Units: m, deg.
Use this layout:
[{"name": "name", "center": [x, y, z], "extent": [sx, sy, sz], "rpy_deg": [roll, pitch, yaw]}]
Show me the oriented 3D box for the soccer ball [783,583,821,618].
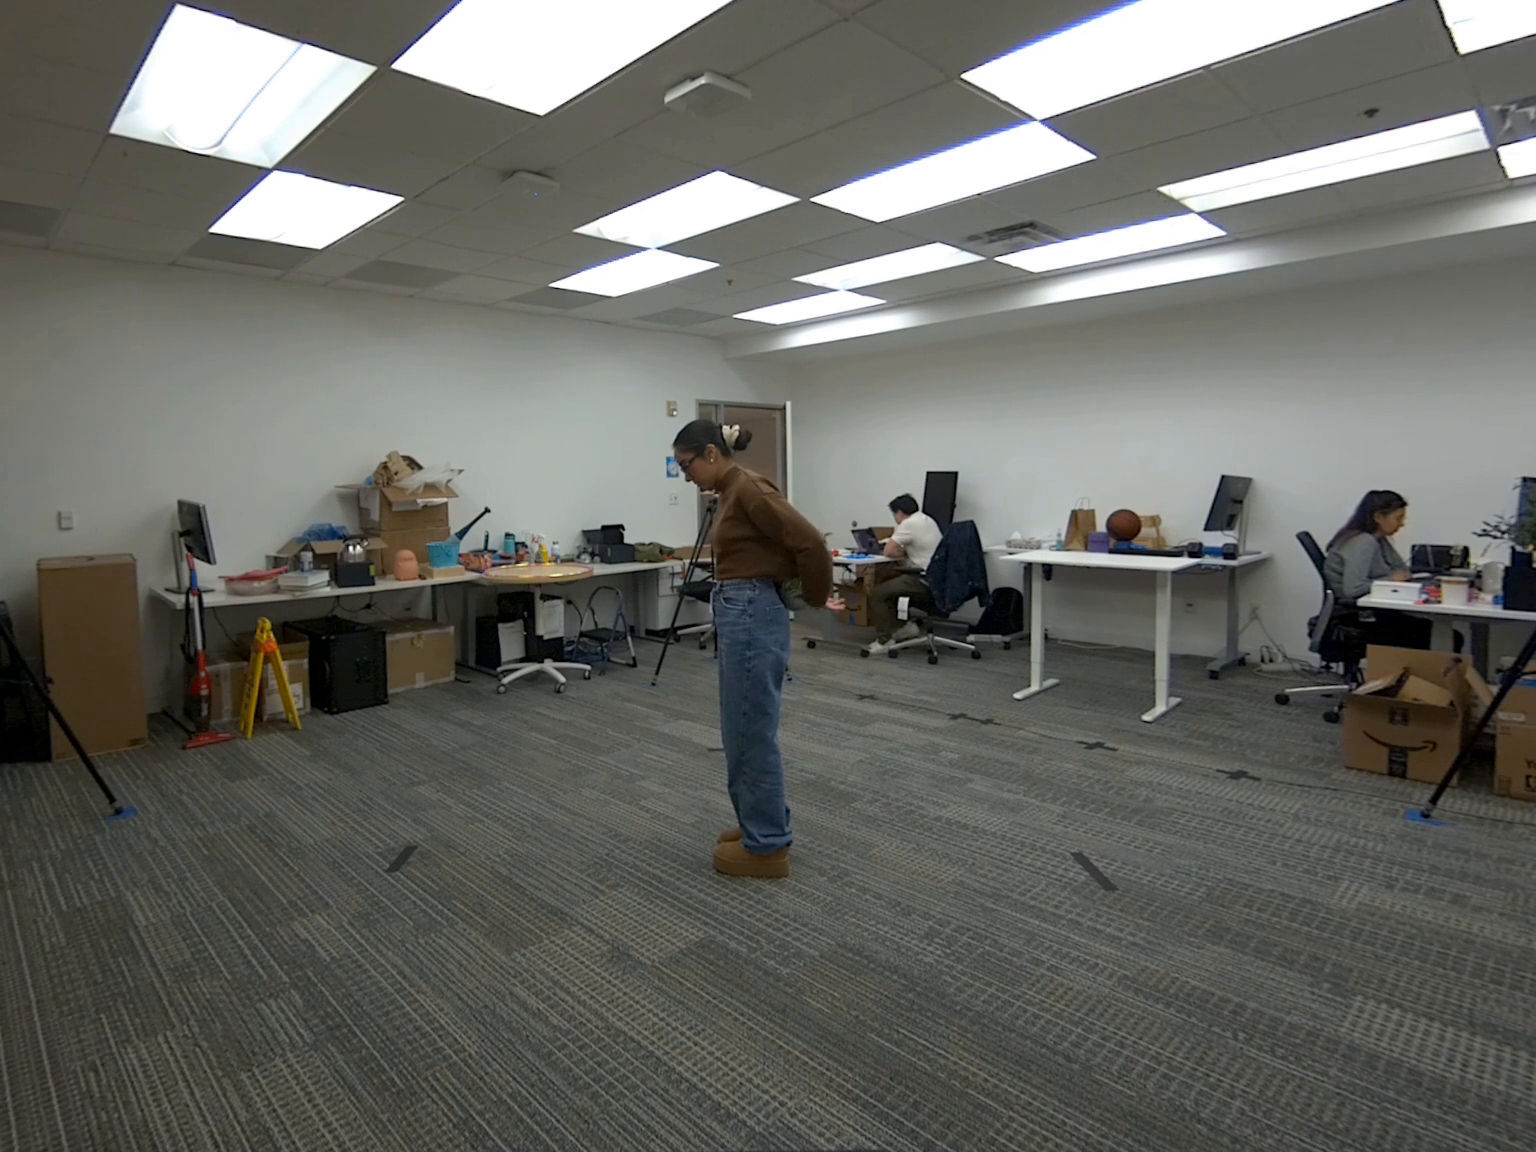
[{"name": "soccer ball", "center": [0.086, 0.042, 3.139], "extent": [0.187, 0.187, 0.188], "rpy_deg": [-1, 5, -2]}]
